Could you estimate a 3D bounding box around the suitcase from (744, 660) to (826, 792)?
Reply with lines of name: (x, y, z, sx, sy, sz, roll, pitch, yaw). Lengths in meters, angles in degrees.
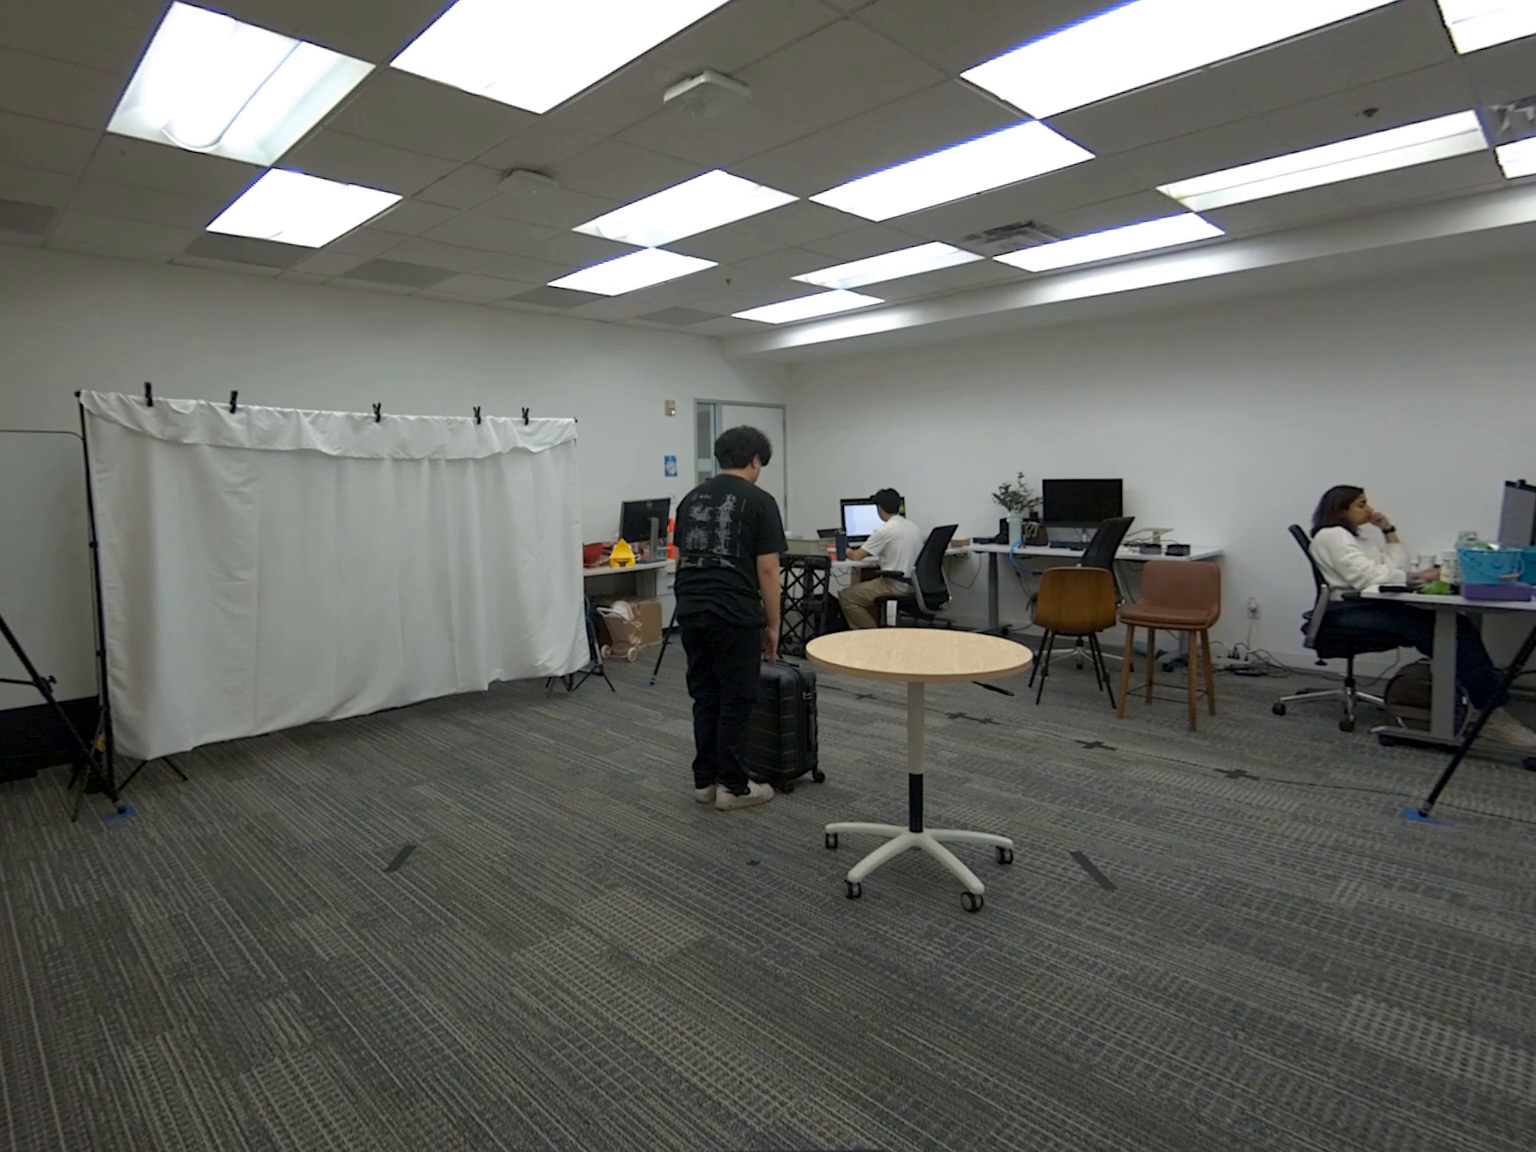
suitcase: (0.033, 0.669, 3.947, 0.242, 0.547, 0.387, -5, 5, -43)
